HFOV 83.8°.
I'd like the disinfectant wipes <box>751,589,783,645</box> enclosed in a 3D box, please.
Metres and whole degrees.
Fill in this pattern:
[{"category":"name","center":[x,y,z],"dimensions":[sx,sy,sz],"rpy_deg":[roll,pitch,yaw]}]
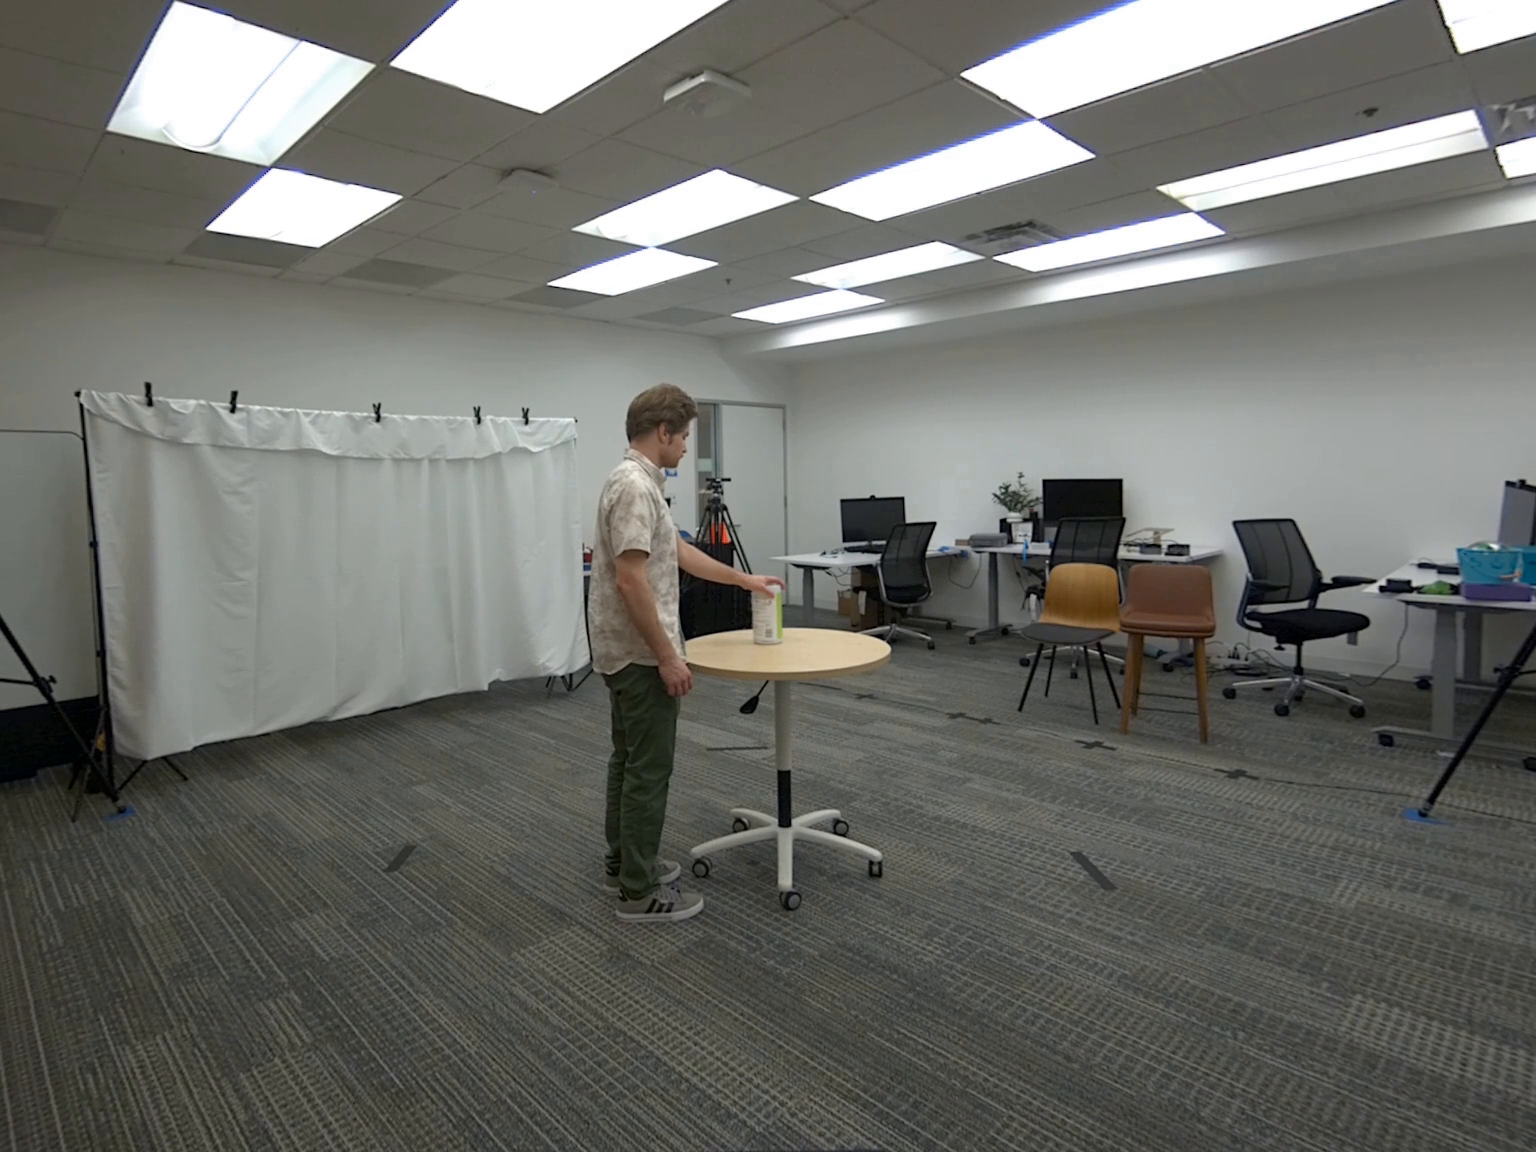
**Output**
[{"category":"disinfectant wipes","center":[-0.001,0.139,3.149],"dimensions":[0.118,0.217,0.118],"rpy_deg":[-2,1,-2]}]
